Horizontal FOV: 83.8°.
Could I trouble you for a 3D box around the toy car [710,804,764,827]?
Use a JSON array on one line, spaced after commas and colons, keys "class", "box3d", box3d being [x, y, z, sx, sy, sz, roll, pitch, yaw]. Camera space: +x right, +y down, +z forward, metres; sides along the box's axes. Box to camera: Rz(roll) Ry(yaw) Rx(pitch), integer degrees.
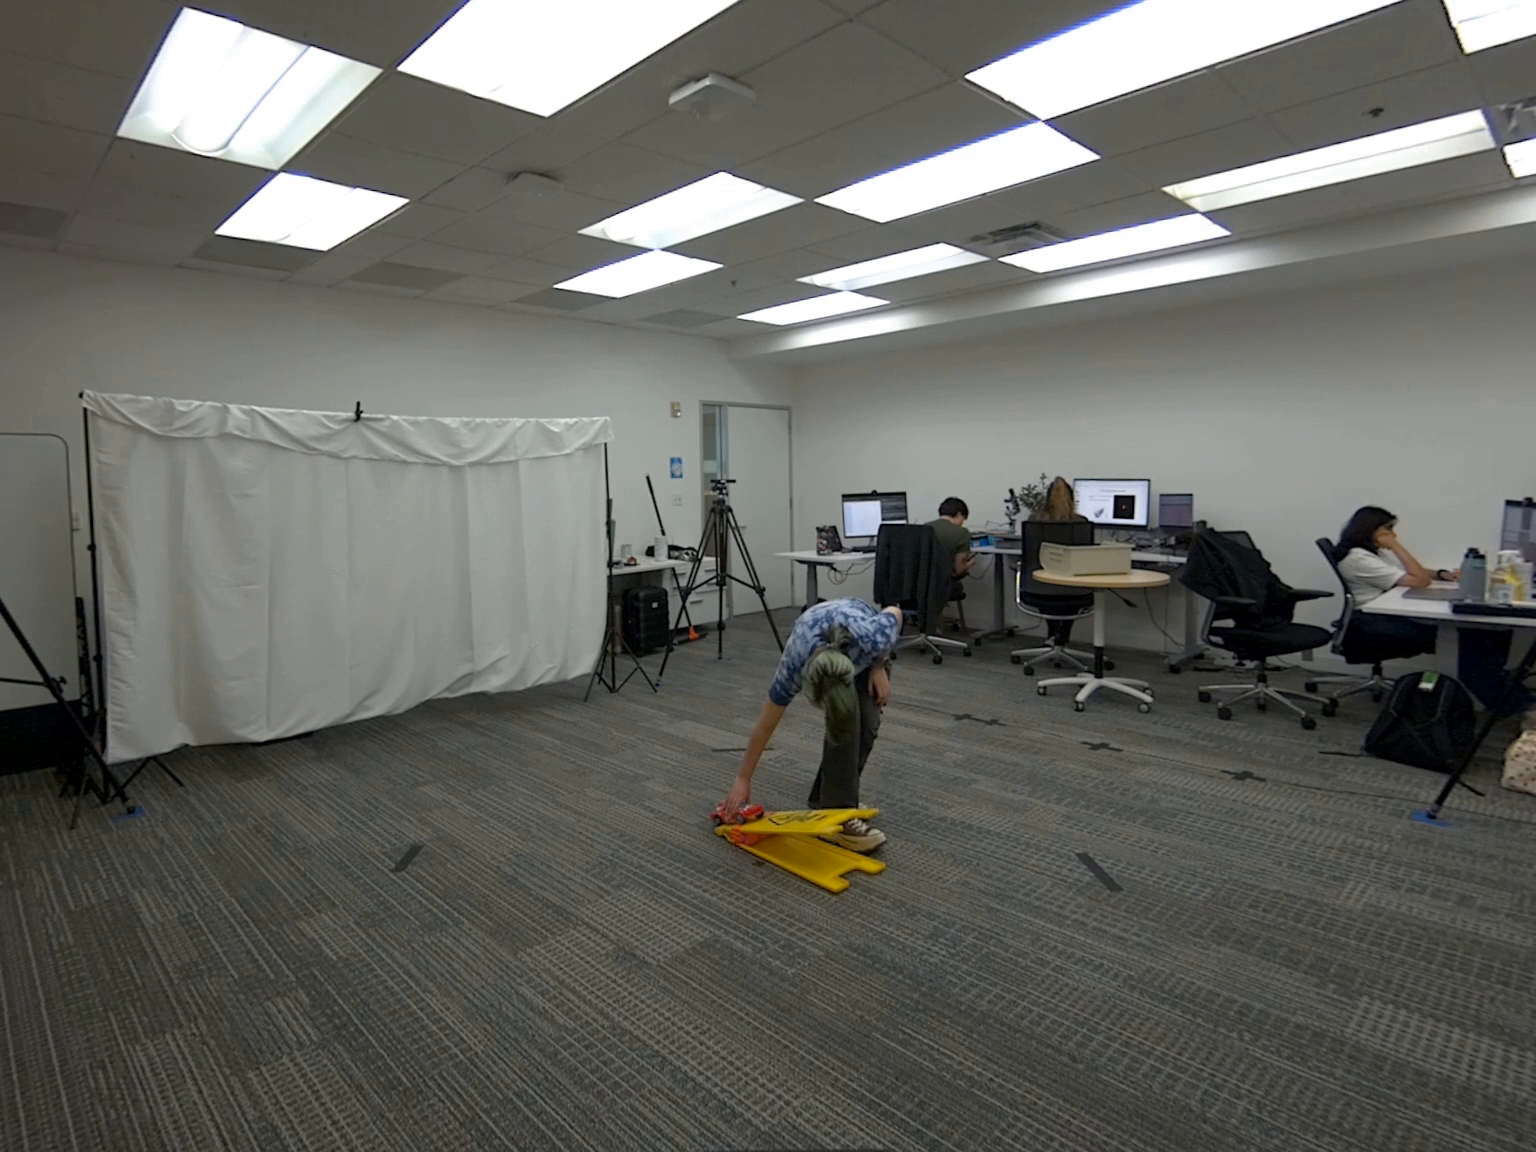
[{"class": "toy car", "box3d": [-0.122, 0.945, 3.383, 0.127, 0.083, 0.260, -8, -2, -41]}]
